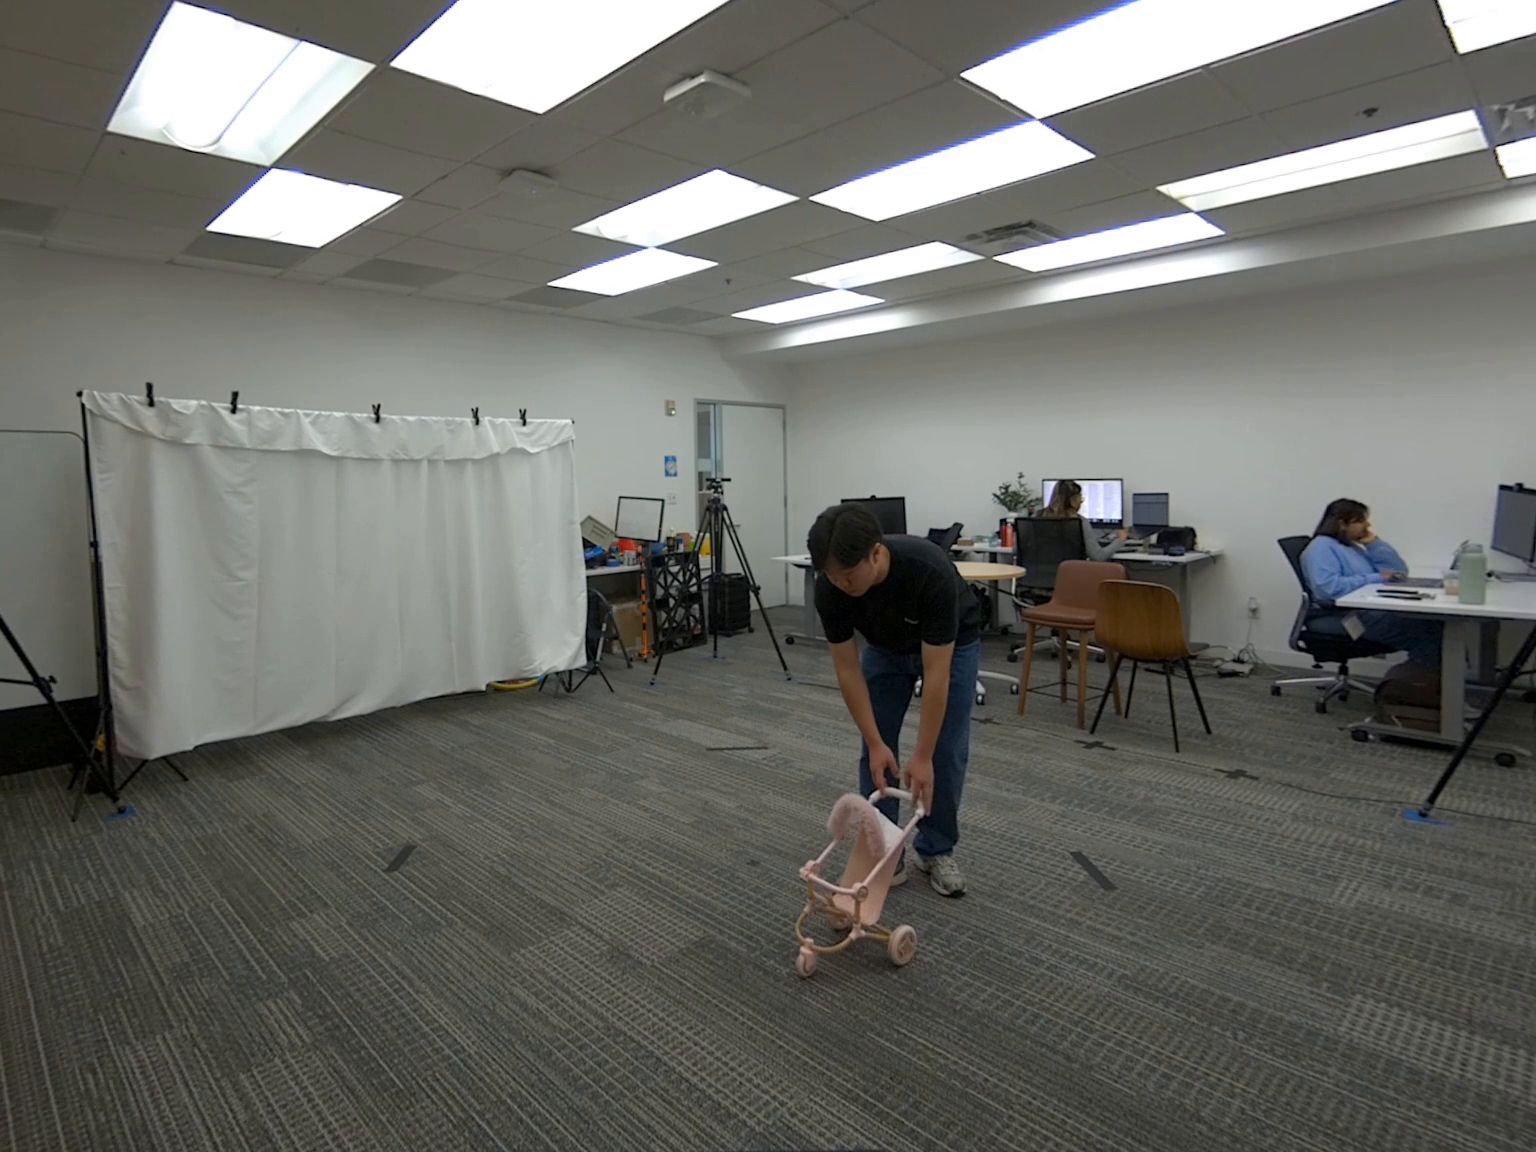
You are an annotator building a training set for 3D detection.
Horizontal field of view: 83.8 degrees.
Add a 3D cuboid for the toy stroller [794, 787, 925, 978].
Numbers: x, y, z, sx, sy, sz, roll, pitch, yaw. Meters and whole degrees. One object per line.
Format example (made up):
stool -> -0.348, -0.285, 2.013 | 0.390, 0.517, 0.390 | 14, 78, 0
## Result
toy stroller -> 0.255, 0.885, 2.500 | 0.330, 0.537, 0.289 | 16, -7, -34
